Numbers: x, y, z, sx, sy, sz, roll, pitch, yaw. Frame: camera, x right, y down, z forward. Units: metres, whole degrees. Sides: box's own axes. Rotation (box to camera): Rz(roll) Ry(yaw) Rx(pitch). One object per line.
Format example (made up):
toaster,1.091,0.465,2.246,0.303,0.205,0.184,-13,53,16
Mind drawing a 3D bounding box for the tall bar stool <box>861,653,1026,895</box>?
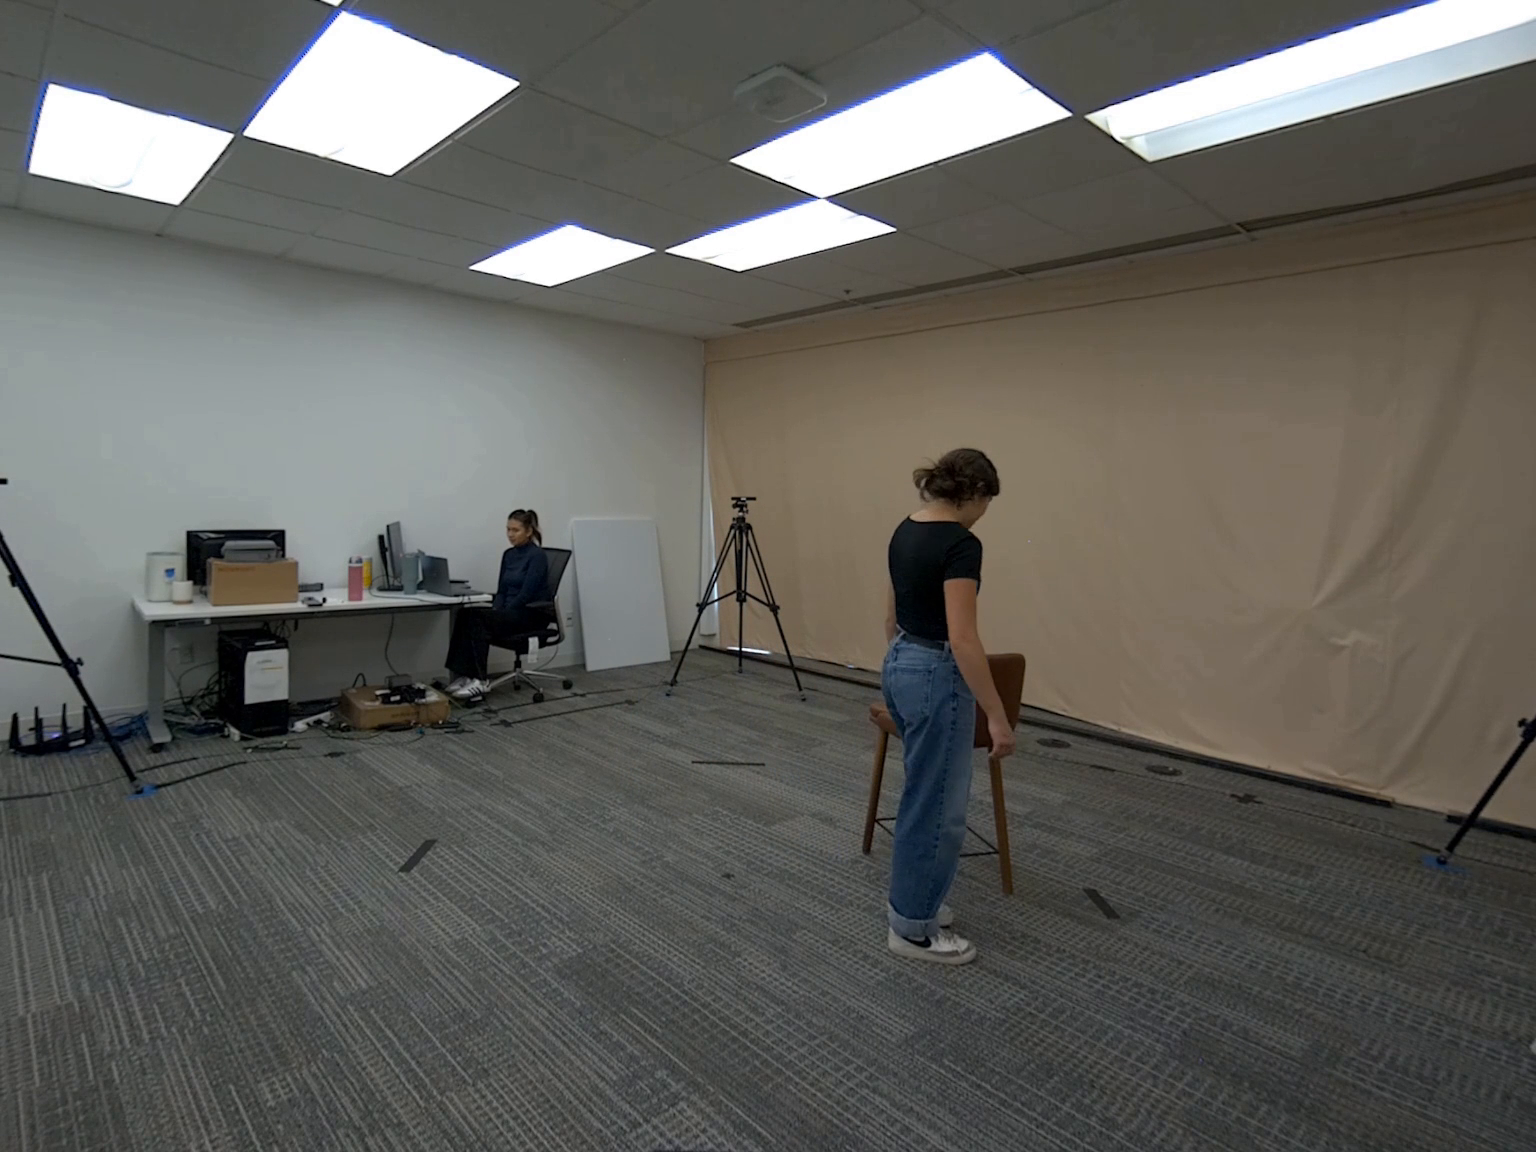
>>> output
tall bar stool,0.649,0.687,3.153,0.450,0.887,0.476,1,5,-18
